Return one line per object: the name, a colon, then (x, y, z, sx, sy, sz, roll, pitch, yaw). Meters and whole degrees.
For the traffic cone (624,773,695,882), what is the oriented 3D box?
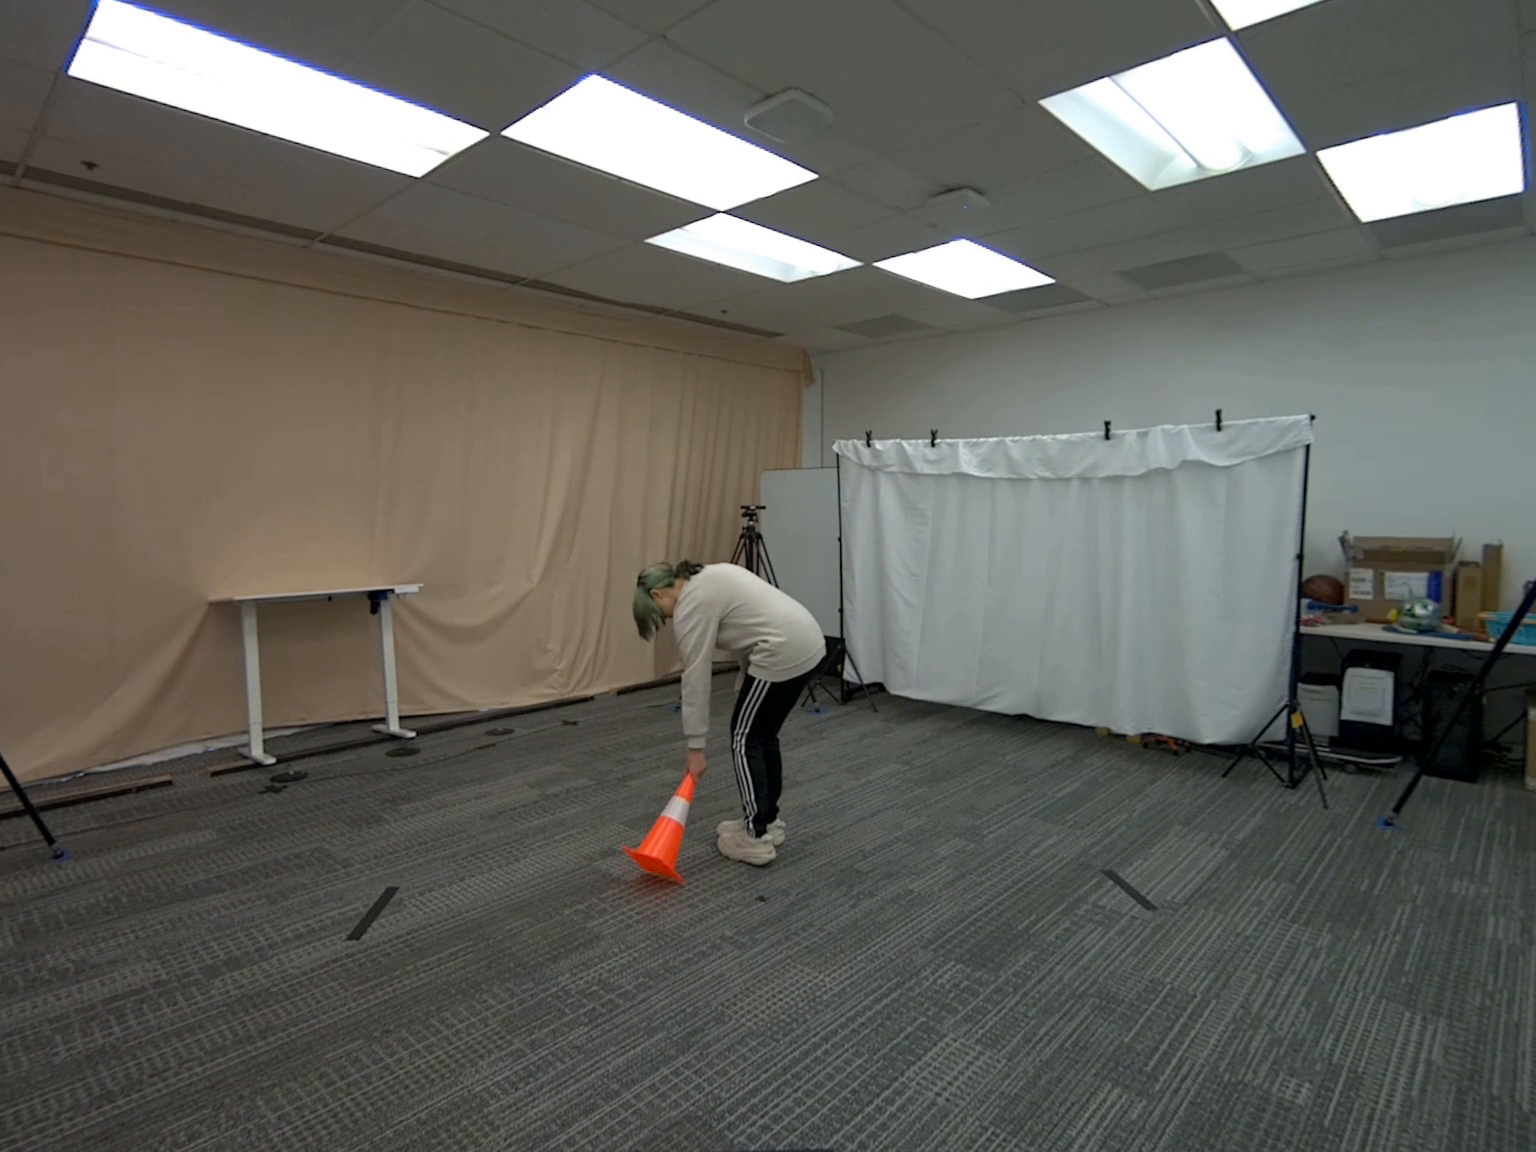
traffic cone: (-0.361, 0.921, 3.184, 0.211, 0.385, 0.197, -1, -40, 31)
